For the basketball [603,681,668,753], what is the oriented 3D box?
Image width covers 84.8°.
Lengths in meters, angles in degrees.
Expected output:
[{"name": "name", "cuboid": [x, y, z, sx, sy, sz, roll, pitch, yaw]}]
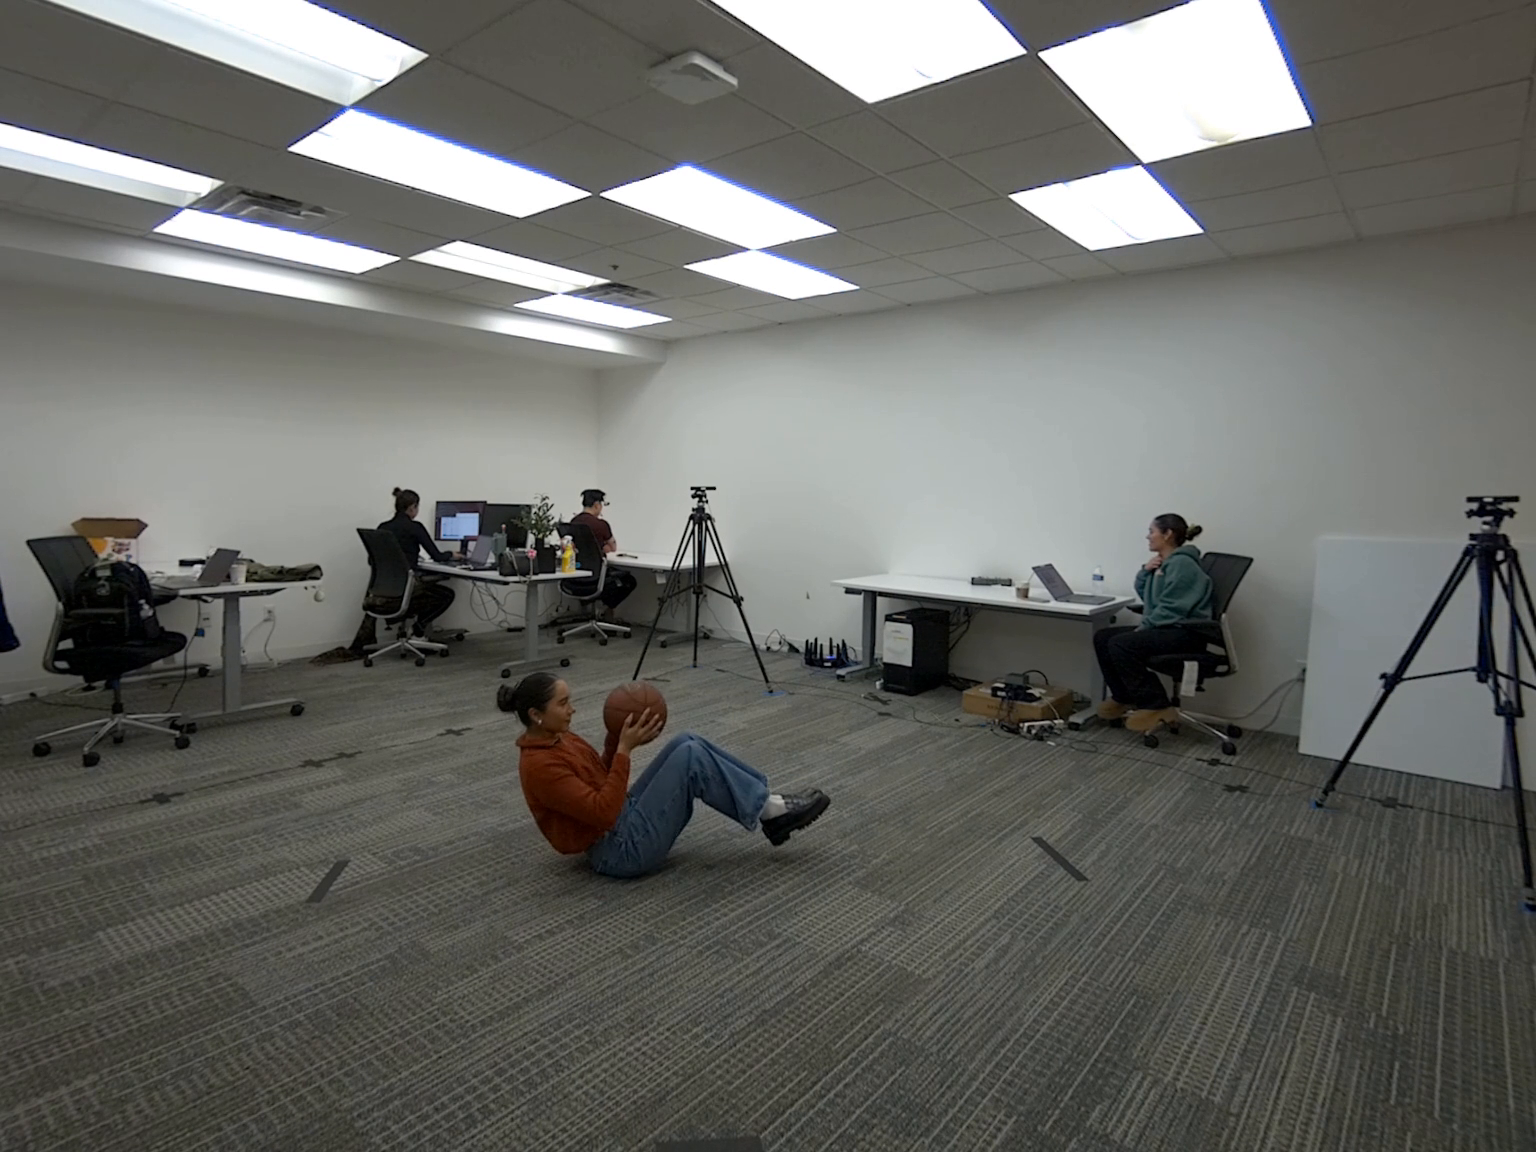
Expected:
[{"name": "basketball", "cuboid": [-0.502, 0.536, 3.114, 0.235, 0.235, 0.237, 1, 4, -2]}]
